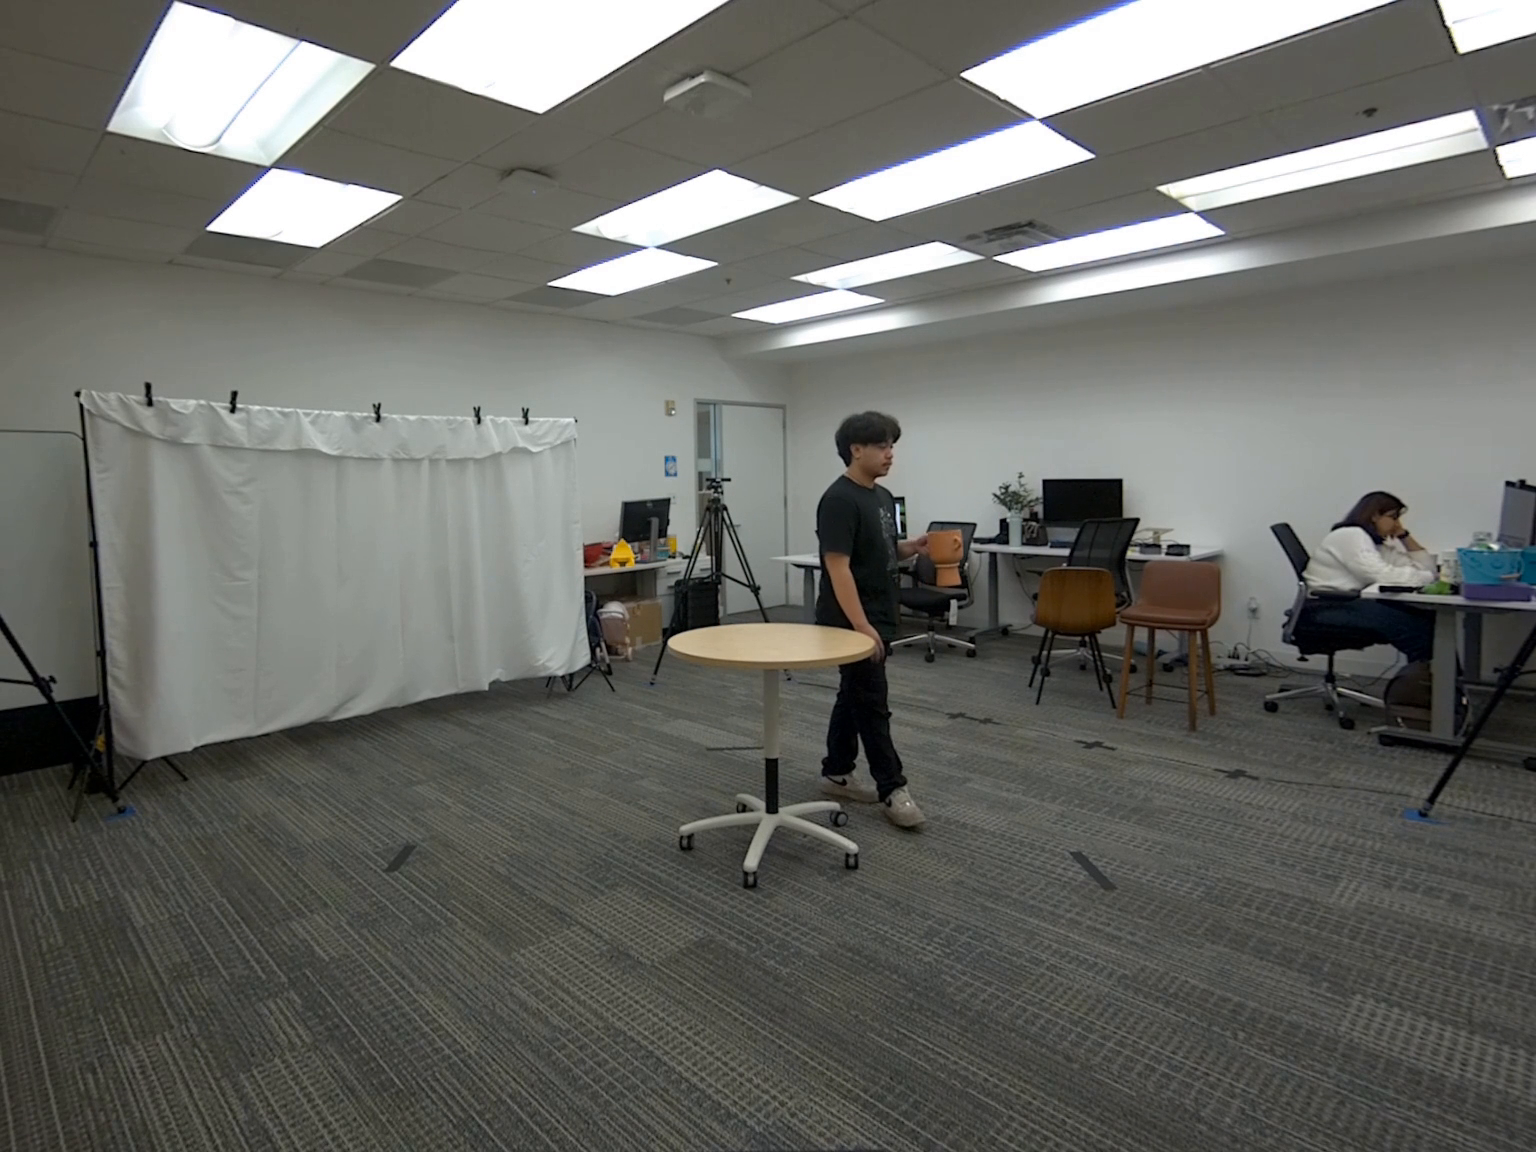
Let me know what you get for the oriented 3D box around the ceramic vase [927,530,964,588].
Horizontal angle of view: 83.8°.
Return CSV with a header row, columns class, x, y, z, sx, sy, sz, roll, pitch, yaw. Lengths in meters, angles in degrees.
class,x,y,z,sx,sy,sz,roll,pitch,yaw
ceramic vase,0.712,-0.071,3.478,0.136,0.219,0.158,-5,4,11
